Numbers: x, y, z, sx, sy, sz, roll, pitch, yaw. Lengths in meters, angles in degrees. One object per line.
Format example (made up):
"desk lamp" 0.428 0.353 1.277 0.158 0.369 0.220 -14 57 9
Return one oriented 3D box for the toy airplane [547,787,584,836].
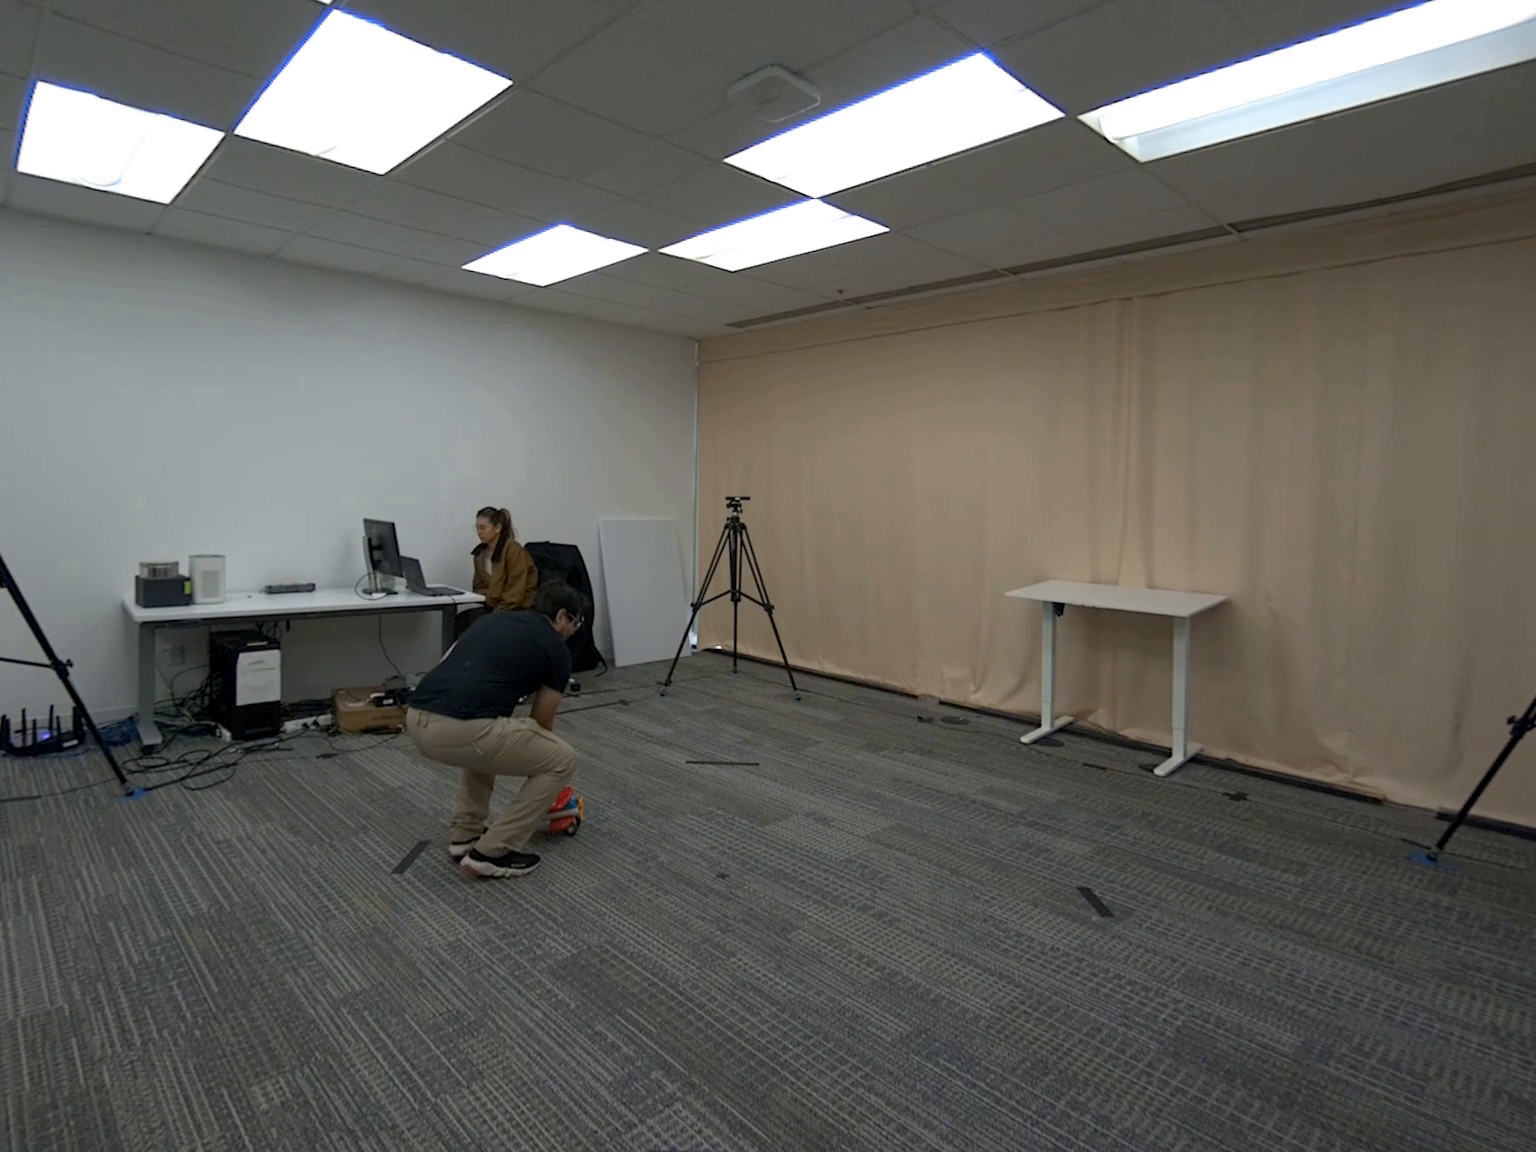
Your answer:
"toy airplane" -0.896 0.982 3.470 0.254 0.156 0.257 0 5 -28
